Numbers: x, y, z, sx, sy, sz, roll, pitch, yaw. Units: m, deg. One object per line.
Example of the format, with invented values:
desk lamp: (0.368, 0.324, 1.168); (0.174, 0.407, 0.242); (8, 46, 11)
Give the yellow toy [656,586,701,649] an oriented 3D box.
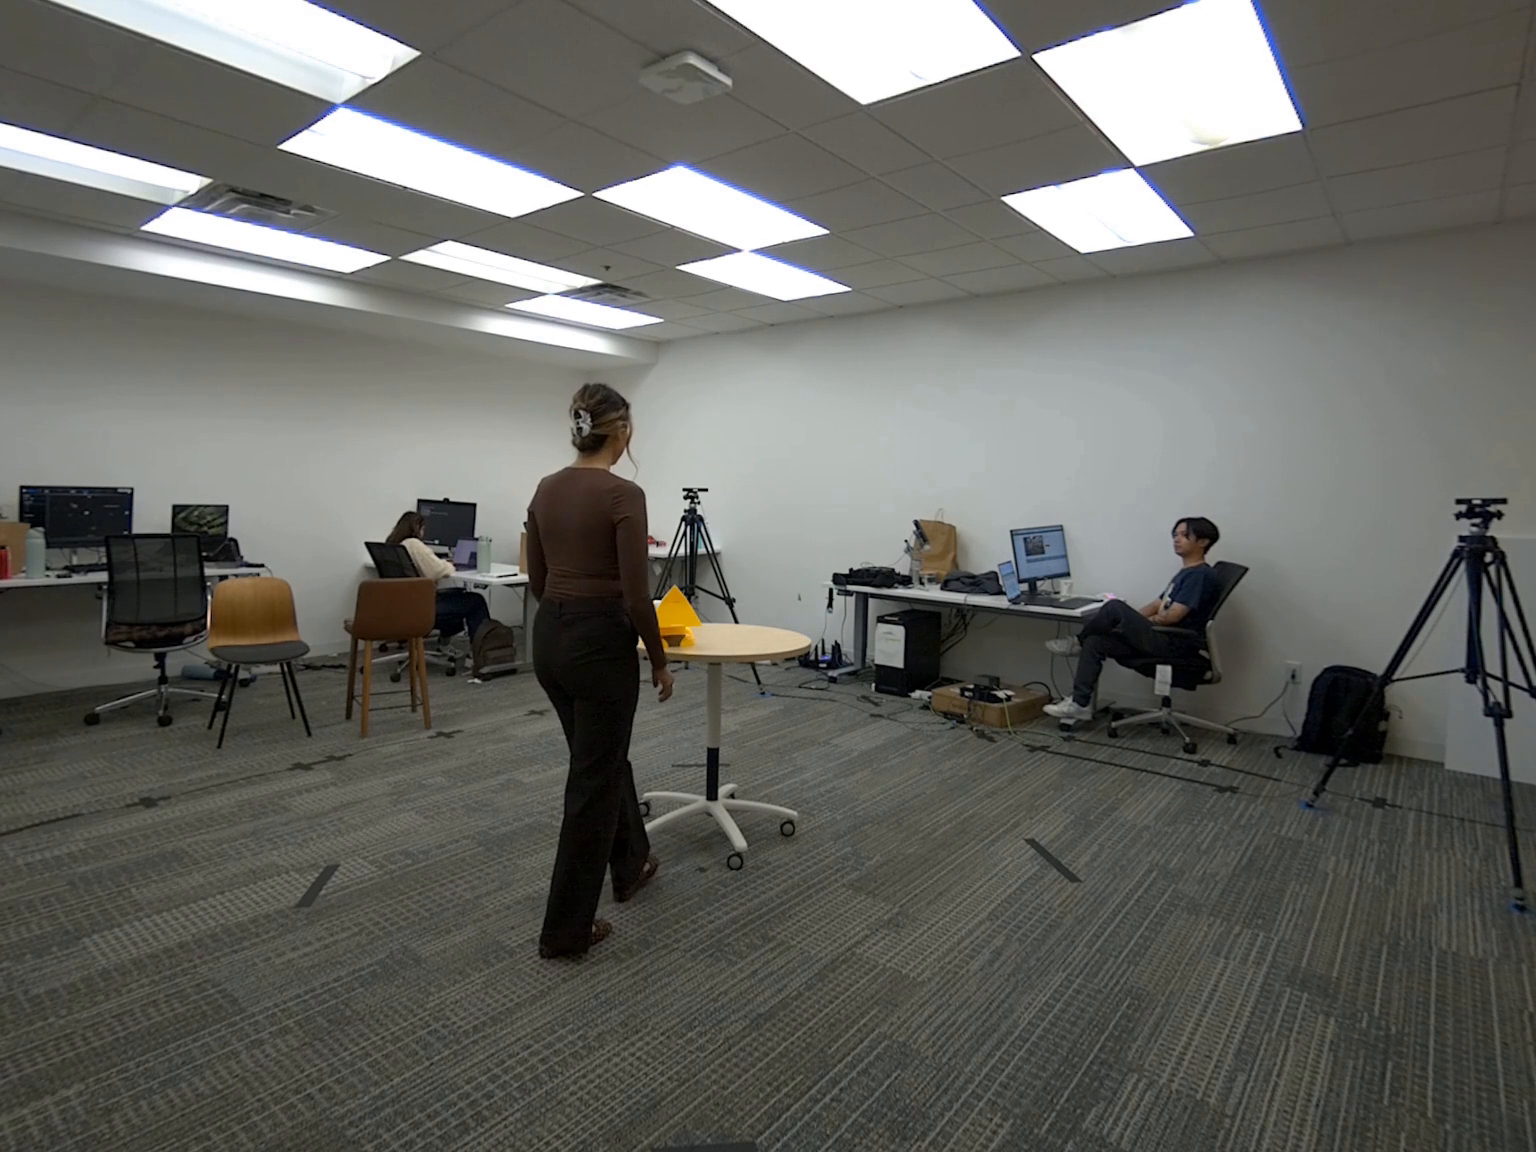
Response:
yellow toy: (-0.380, 0.142, 3.233); (0.200, 0.230, 0.198); (0, 4, -21)
